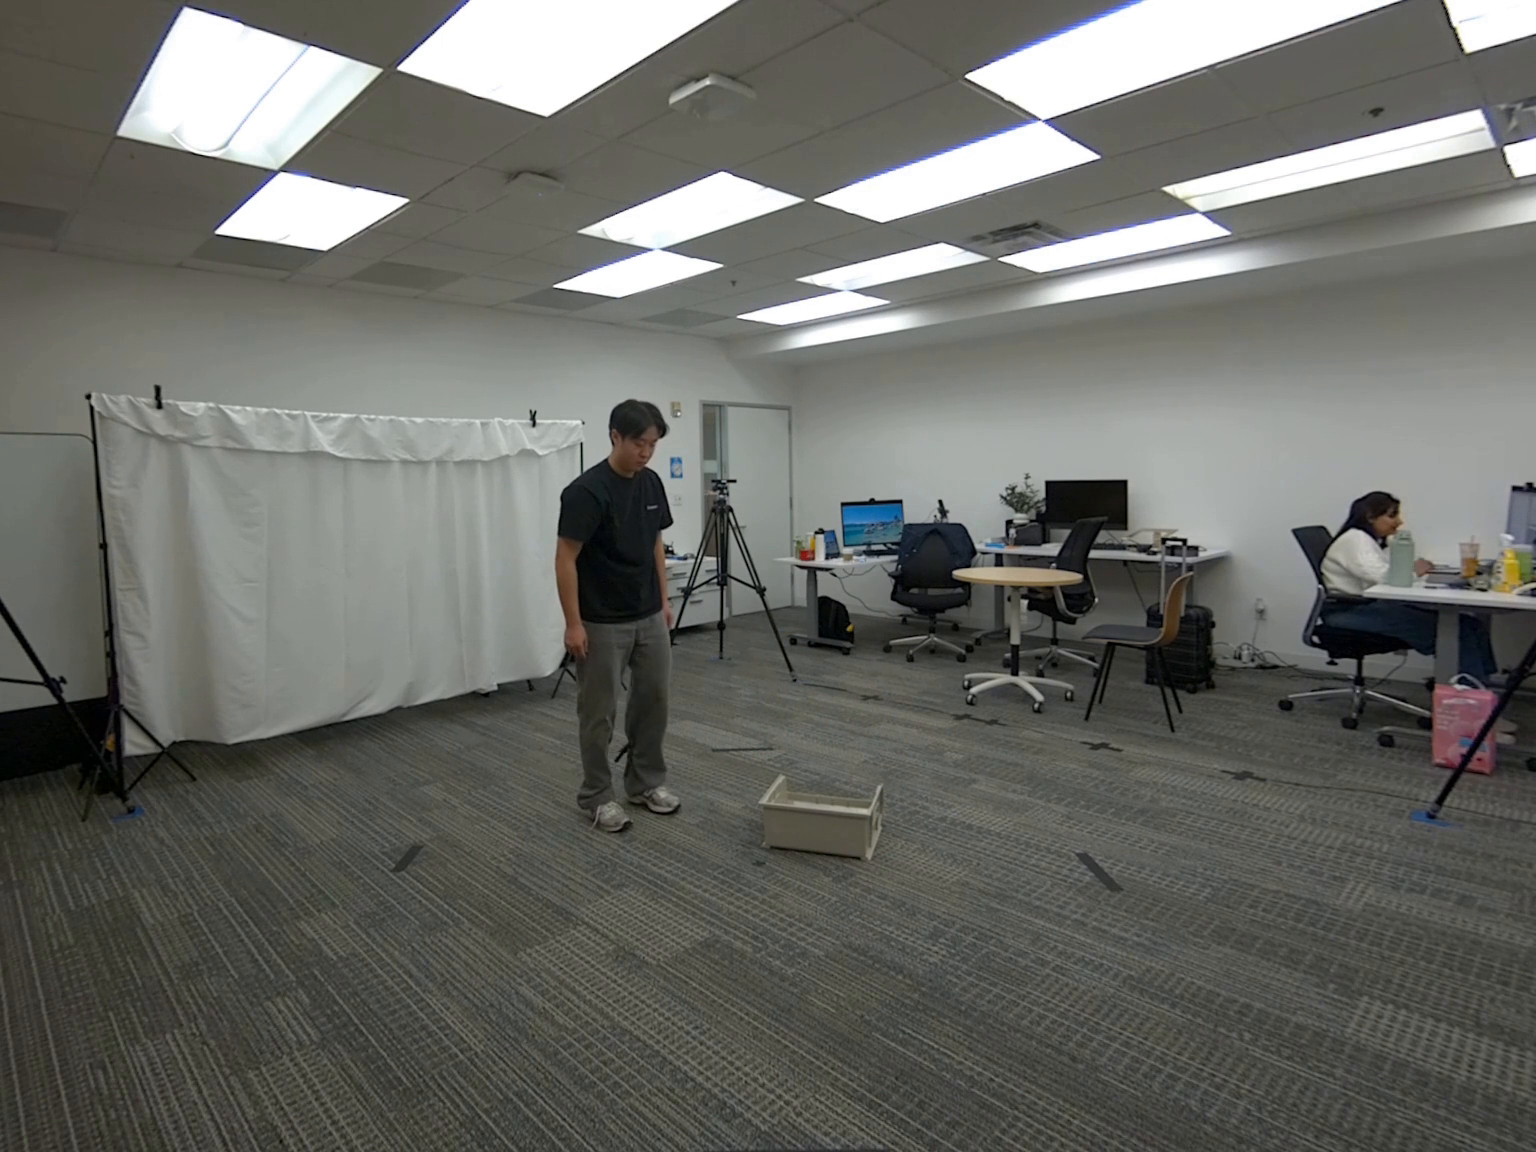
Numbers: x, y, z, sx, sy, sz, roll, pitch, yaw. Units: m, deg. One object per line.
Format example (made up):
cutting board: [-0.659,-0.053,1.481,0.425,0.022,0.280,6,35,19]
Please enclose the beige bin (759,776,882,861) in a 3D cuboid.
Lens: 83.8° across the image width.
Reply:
beige bin: [0.218,0.928,3.338,0.430,0.188,0.373,1,7,17]
